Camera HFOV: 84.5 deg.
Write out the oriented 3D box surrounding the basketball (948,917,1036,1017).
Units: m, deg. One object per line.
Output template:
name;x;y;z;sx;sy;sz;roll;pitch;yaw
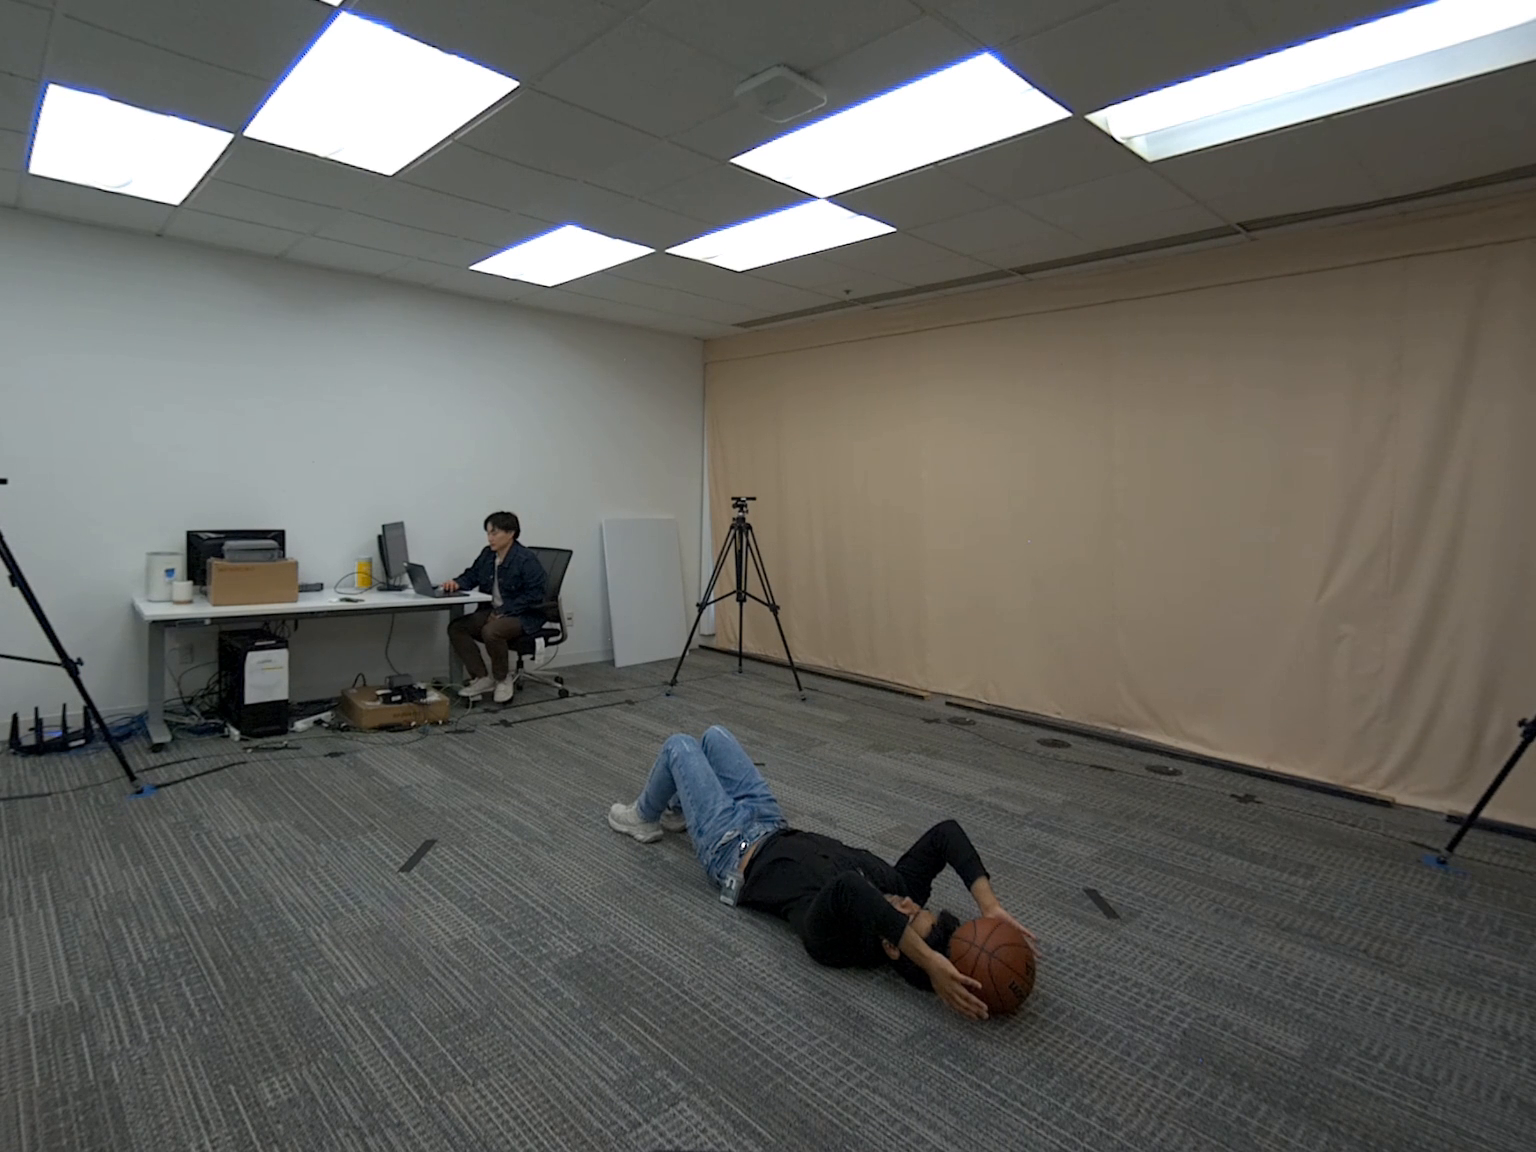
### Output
basketball;0.607;1.080;2.335;0.236;0.235;0.237;1;4;-1
